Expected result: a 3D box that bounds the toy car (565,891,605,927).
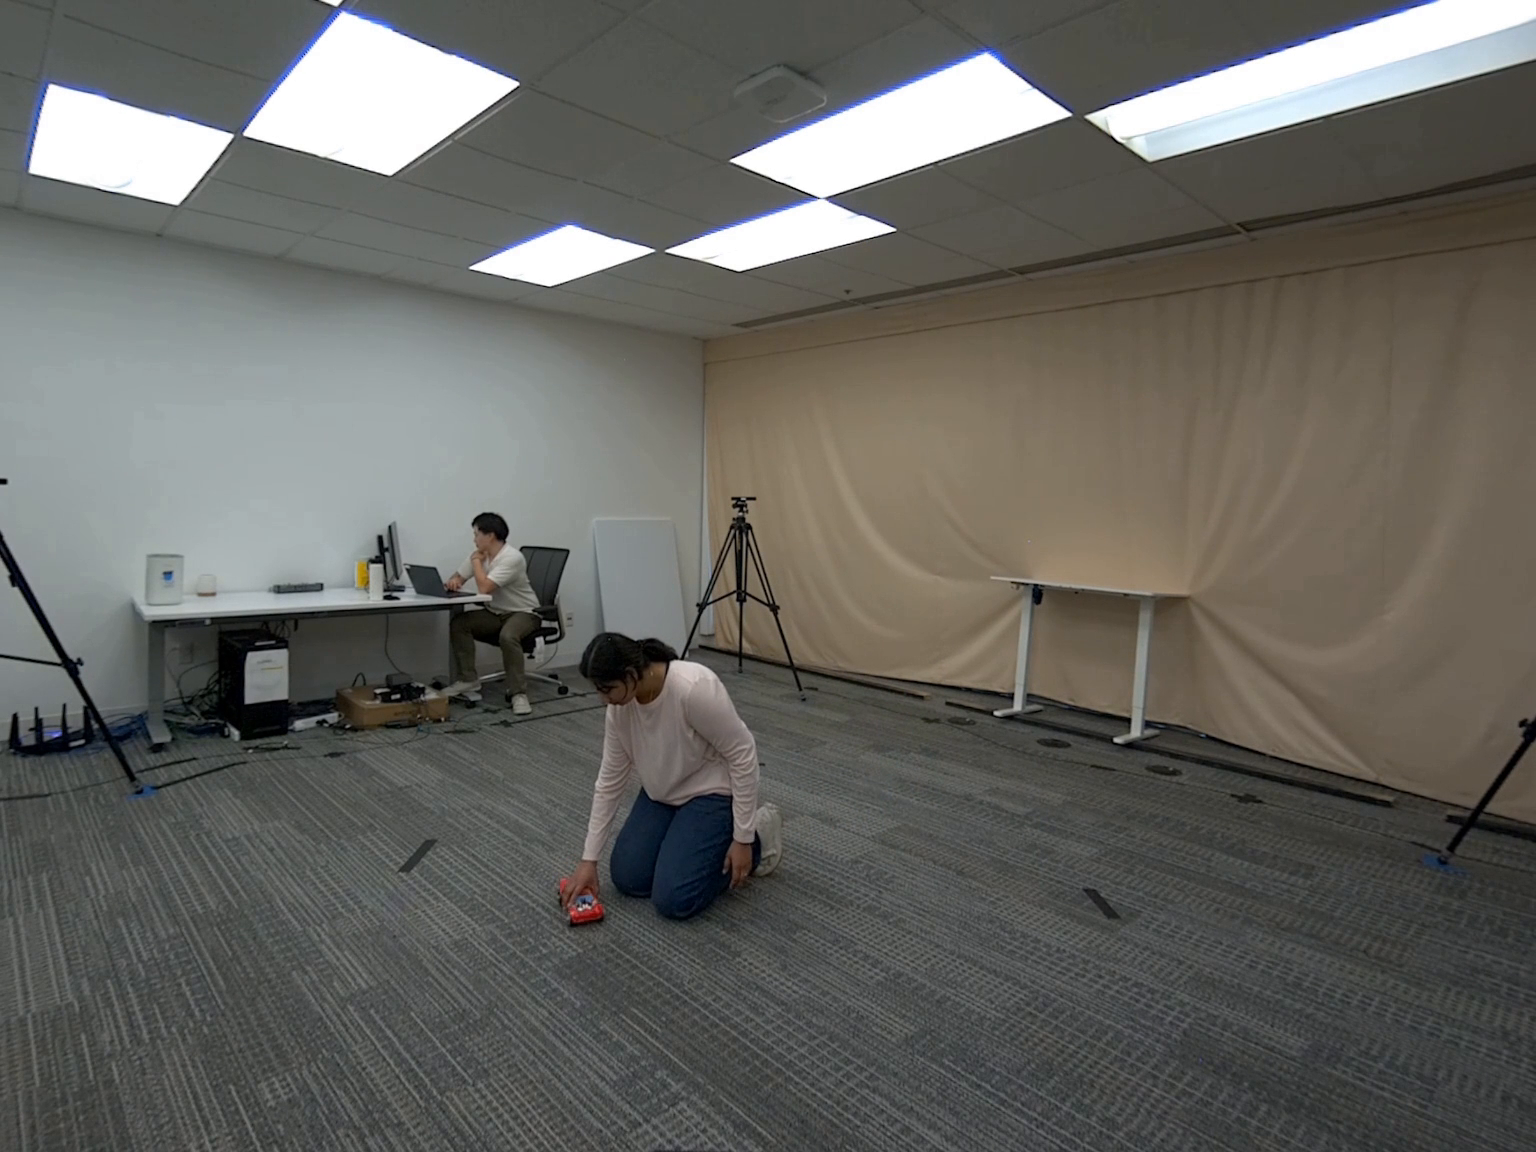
[{"bbox_3d":[-0.634,1.083,2.829,0.128,0.082,0.261,-1,16,-23],"label":"toy car"}]
